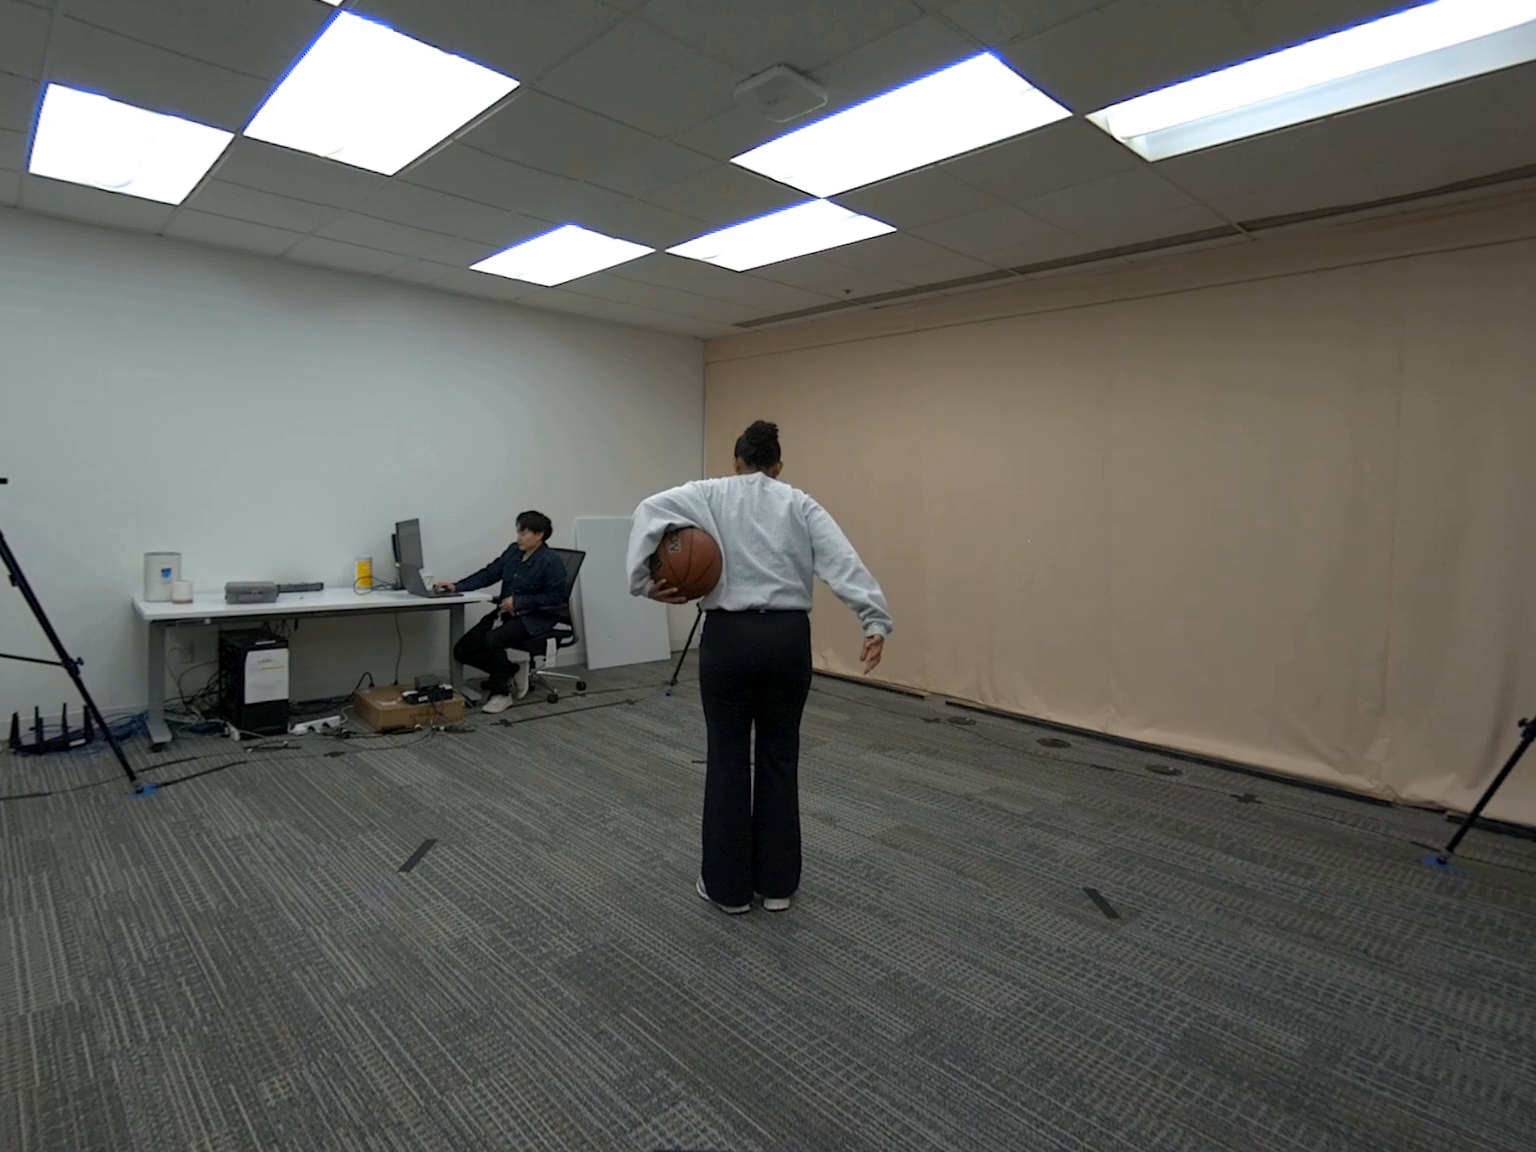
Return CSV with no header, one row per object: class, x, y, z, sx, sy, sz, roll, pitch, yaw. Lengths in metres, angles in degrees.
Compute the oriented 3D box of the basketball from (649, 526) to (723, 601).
basketball,-0.272,-0.044,2.737,0.236,0.235,0.237,1,4,-1
